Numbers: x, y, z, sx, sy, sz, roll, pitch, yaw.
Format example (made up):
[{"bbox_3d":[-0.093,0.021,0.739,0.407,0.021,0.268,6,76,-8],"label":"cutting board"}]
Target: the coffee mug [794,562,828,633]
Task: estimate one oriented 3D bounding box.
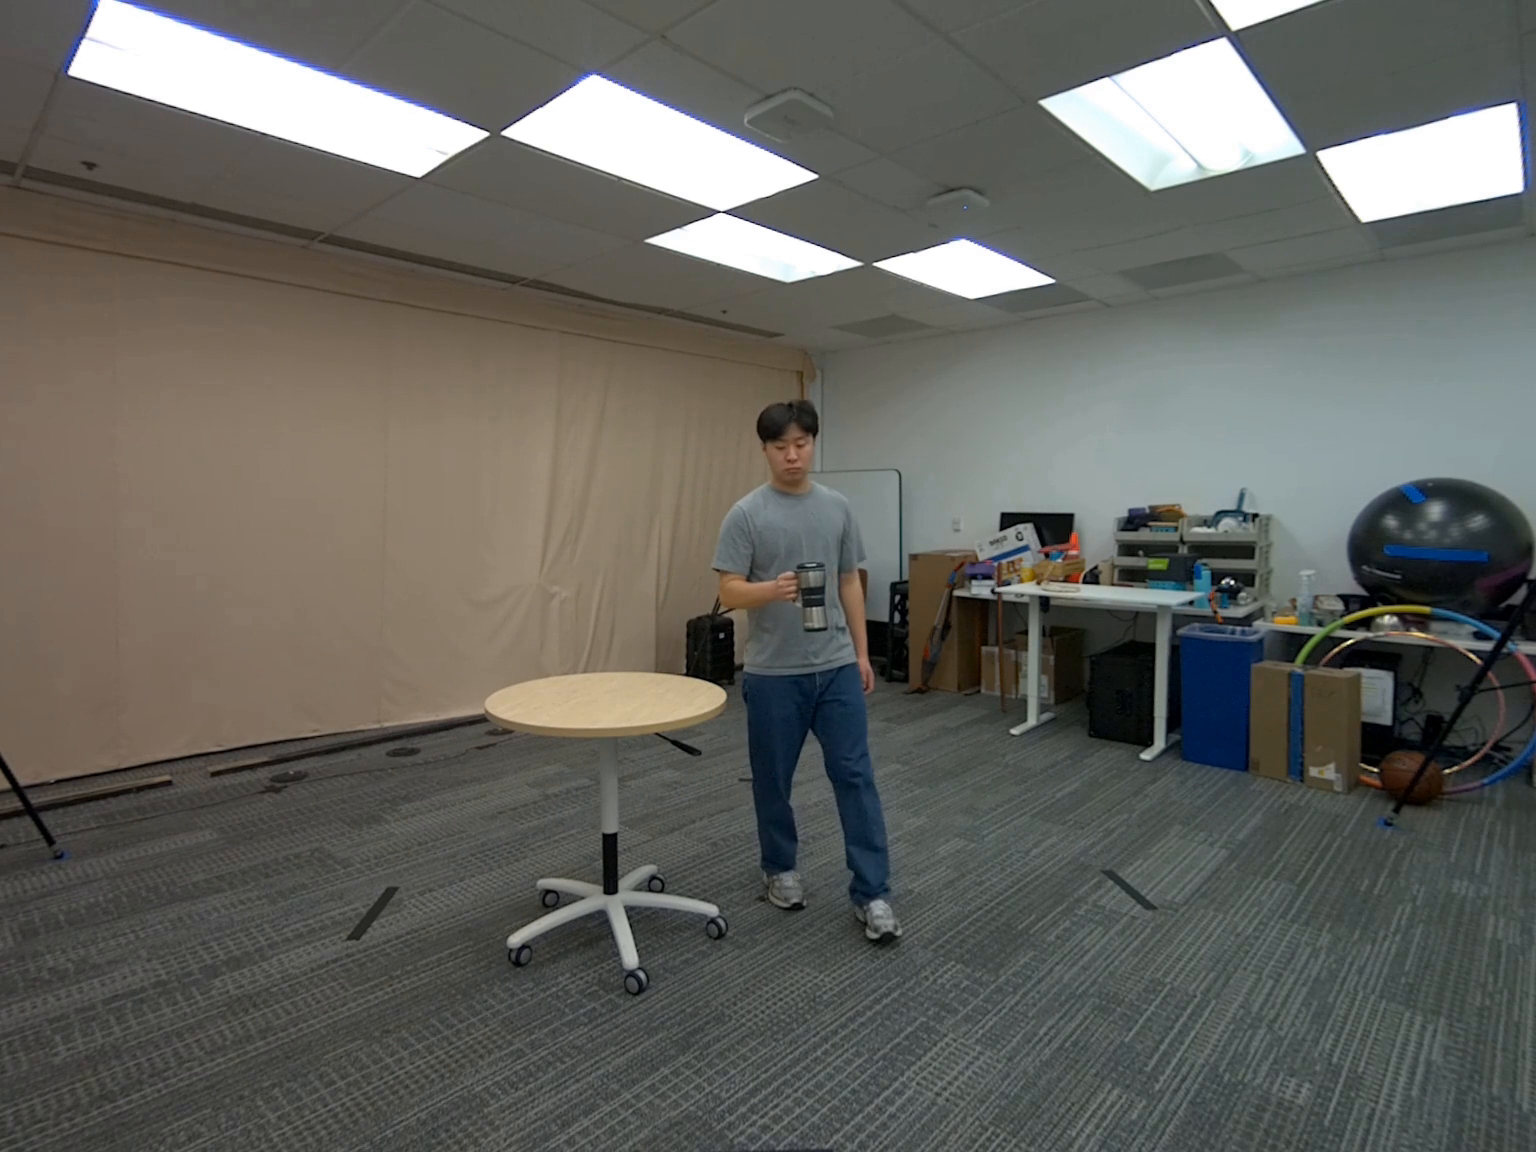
[{"bbox_3d":[0.127,0.068,2.538,0.087,0.202,0.123,-6,3,-7],"label":"coffee mug"}]
